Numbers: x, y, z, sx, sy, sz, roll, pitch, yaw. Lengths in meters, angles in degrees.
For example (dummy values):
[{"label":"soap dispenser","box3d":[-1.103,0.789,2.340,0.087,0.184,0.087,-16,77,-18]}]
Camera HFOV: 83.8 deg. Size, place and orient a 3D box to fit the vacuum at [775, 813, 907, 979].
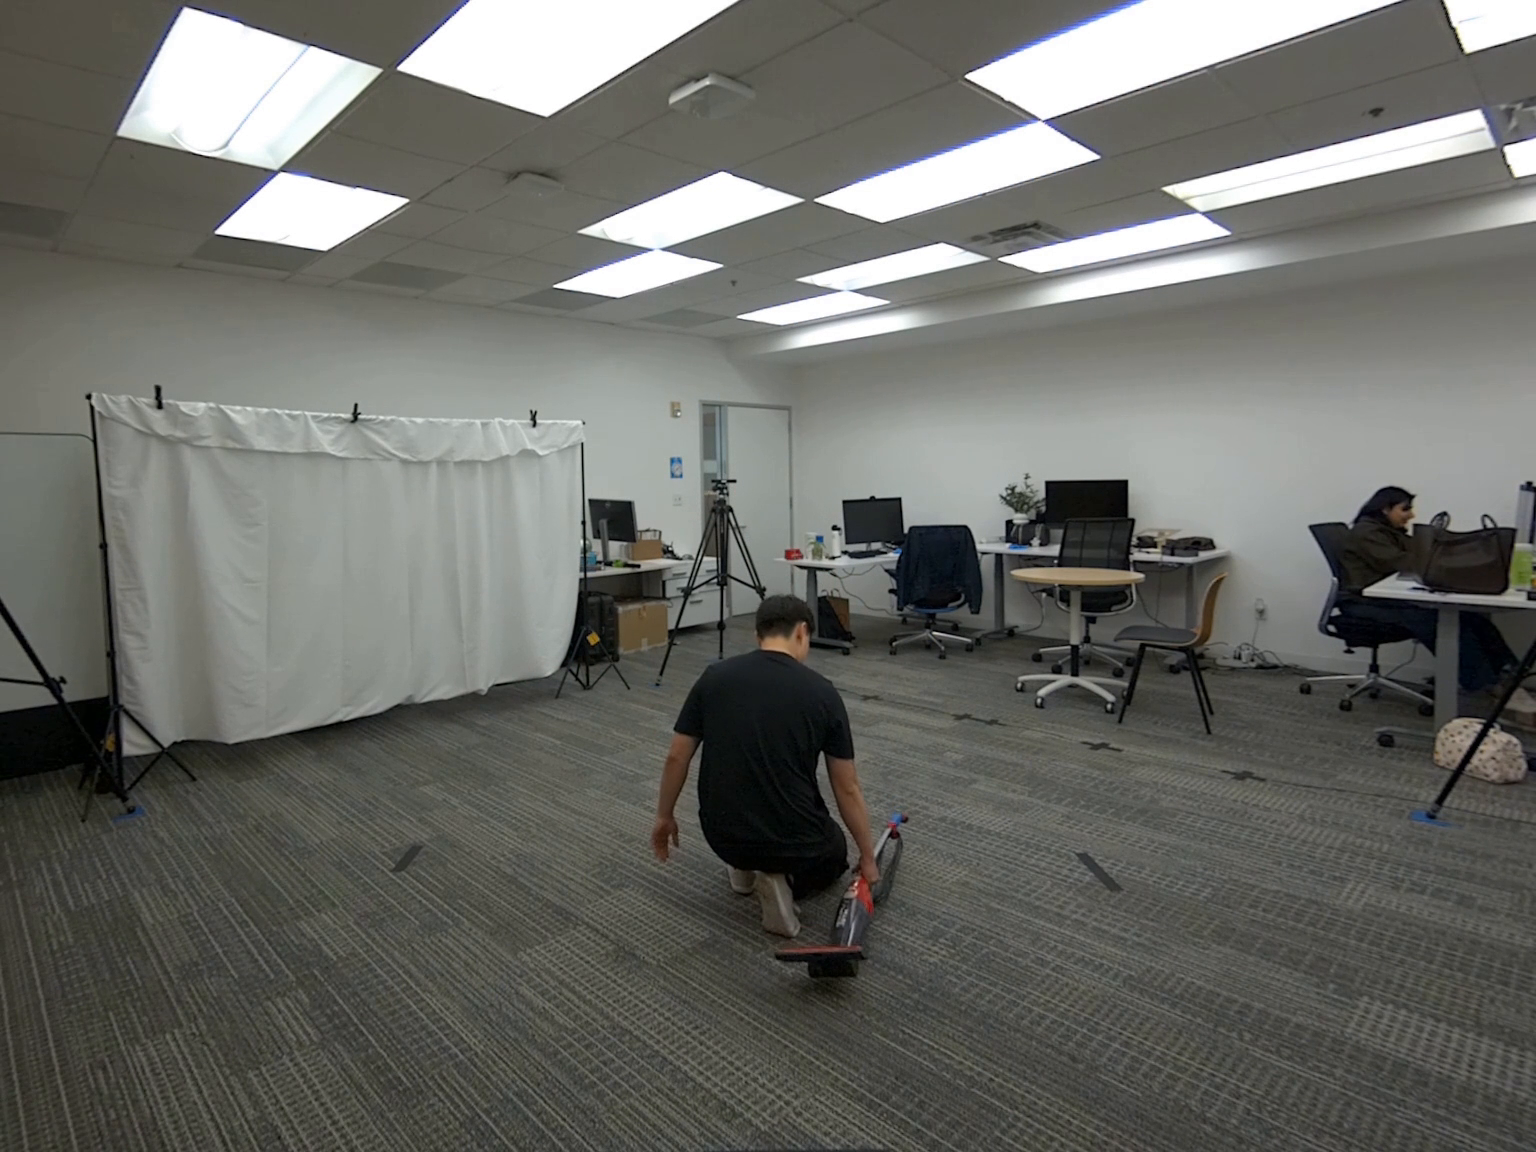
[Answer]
[{"label":"vacuum","box3d":[0.350,0.990,2.793,0.256,0.144,1.033,-15,1,21]}]
